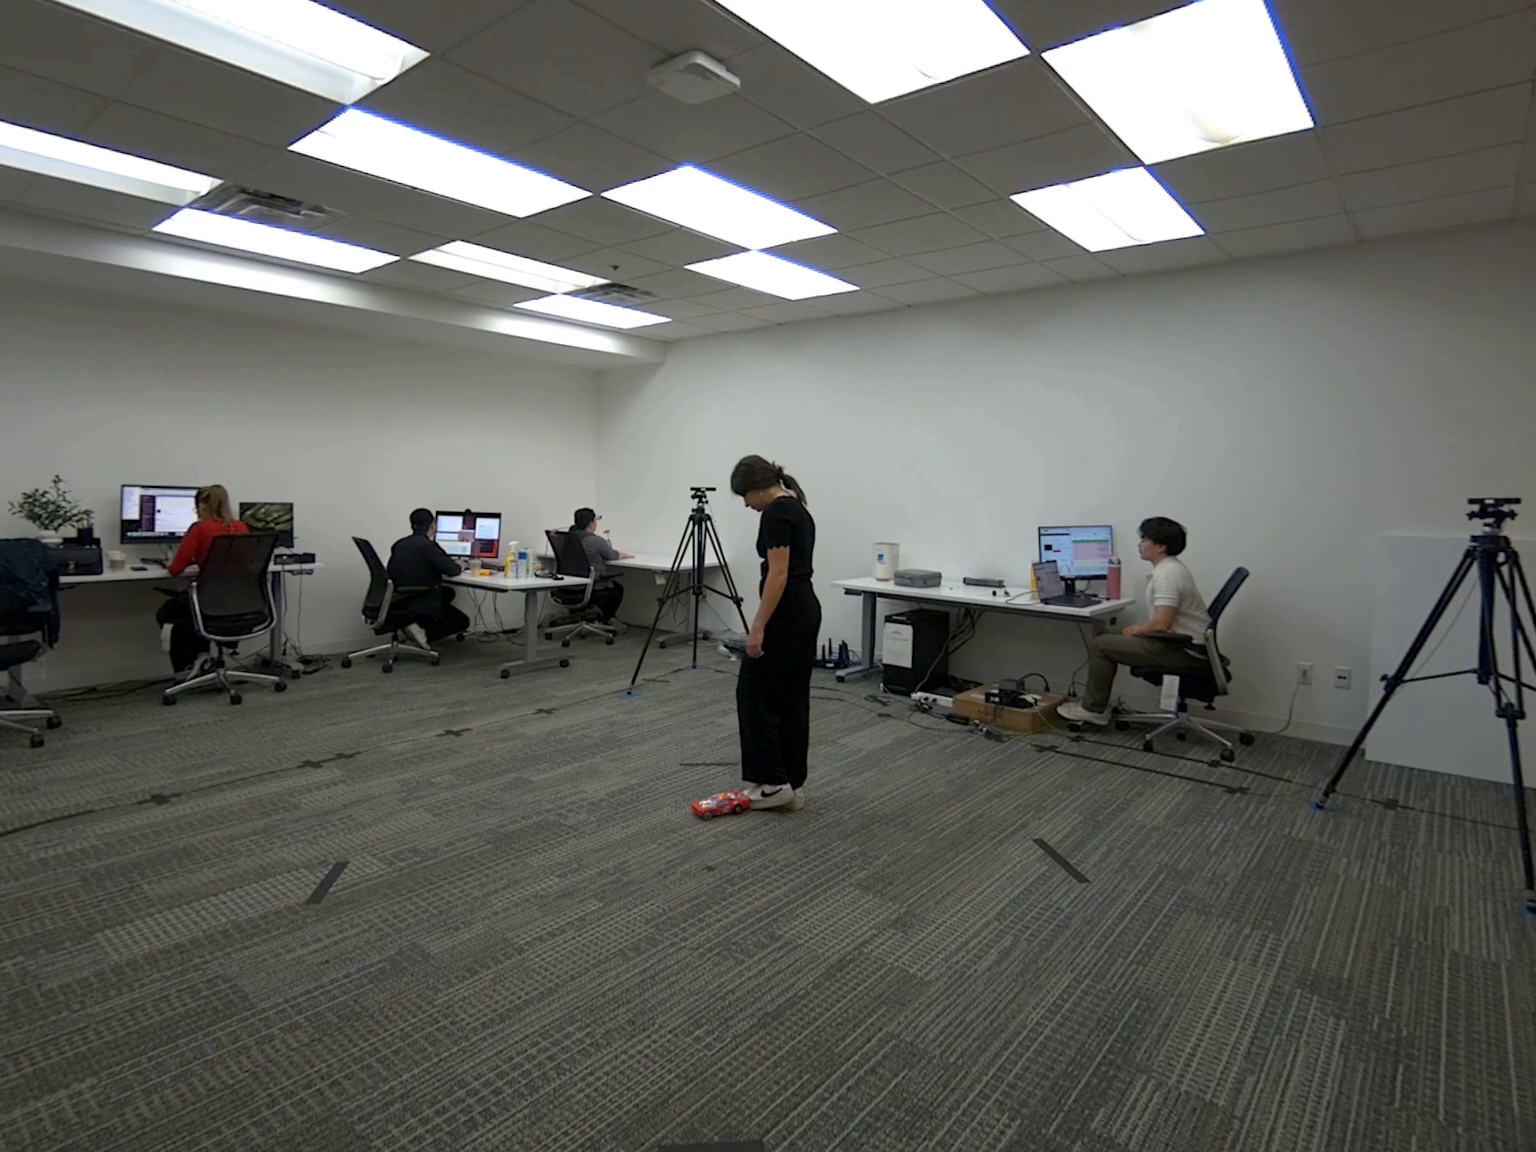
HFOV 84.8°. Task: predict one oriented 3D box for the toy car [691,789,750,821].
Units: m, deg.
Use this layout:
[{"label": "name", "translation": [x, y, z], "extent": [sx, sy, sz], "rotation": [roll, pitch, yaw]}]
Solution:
[{"label": "toy car", "translation": [-0.215, 0.981, 3.649], "extent": [0.250, 0.082, 0.134], "rotation": [-14, 12, -27]}]
